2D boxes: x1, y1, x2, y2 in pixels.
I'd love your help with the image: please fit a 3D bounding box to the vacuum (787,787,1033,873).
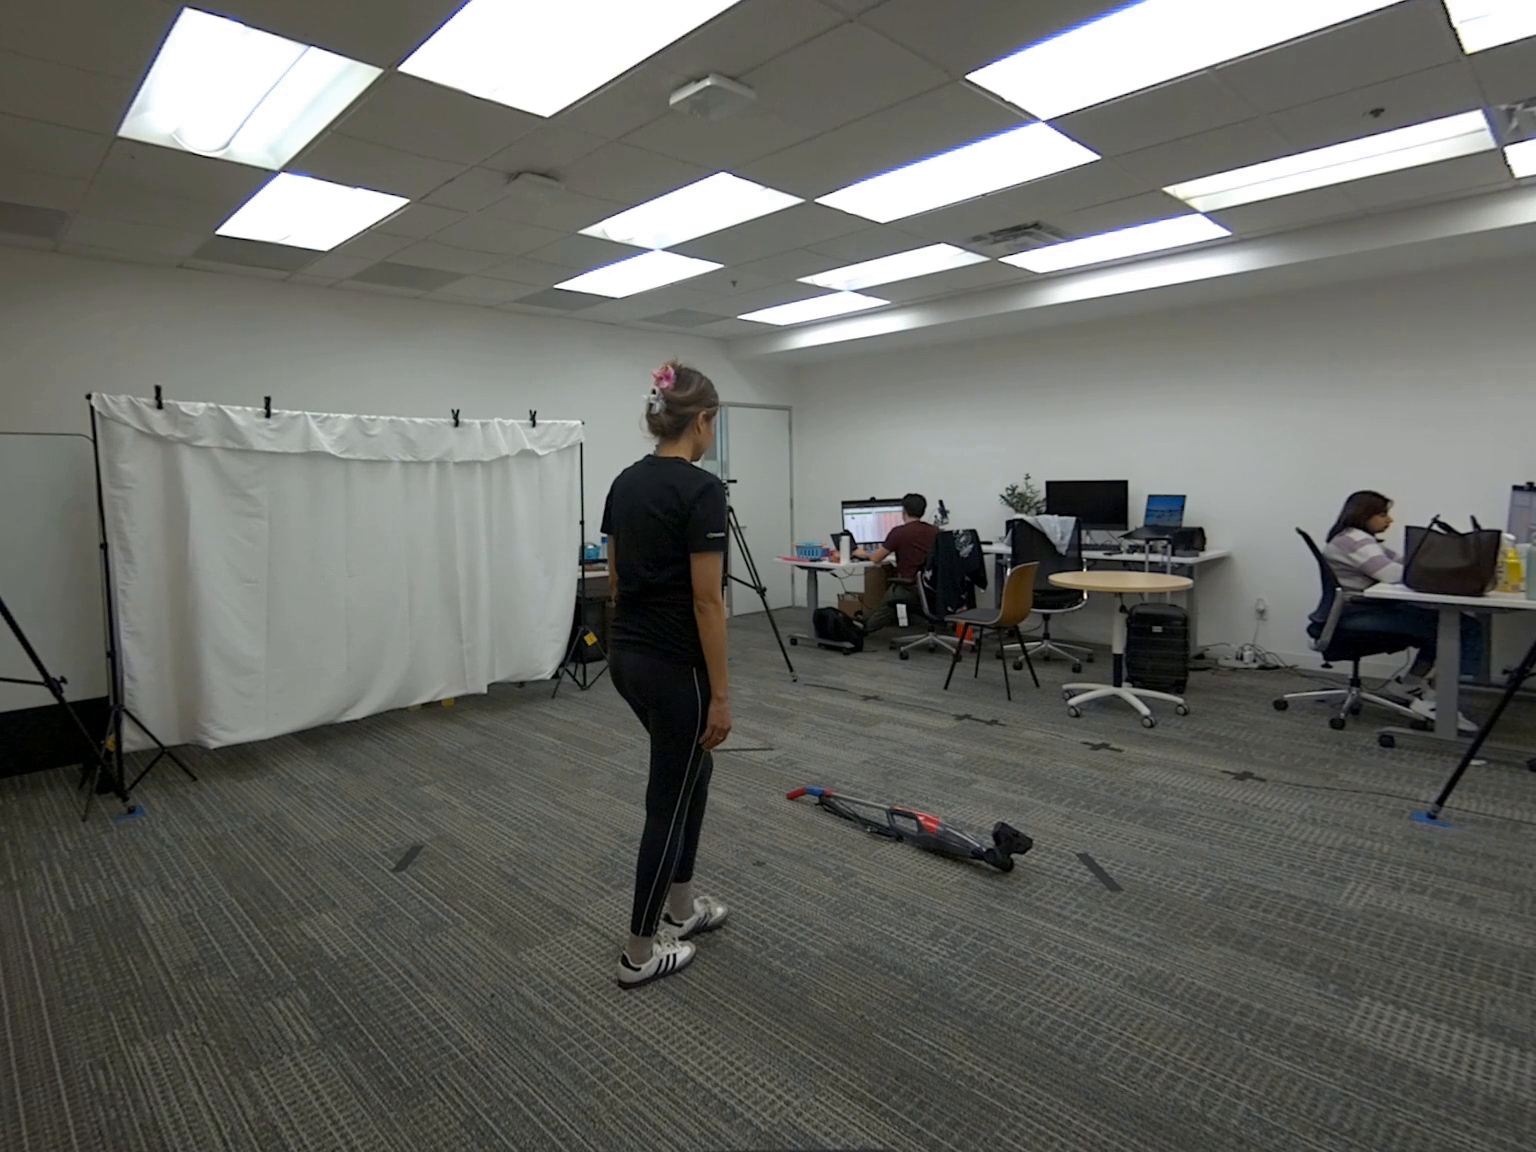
[{"bbox_3d":[0.472,0.964,3.355,1.078,0.145,0.243,-2,-27,45],"label":"vacuum"}]
